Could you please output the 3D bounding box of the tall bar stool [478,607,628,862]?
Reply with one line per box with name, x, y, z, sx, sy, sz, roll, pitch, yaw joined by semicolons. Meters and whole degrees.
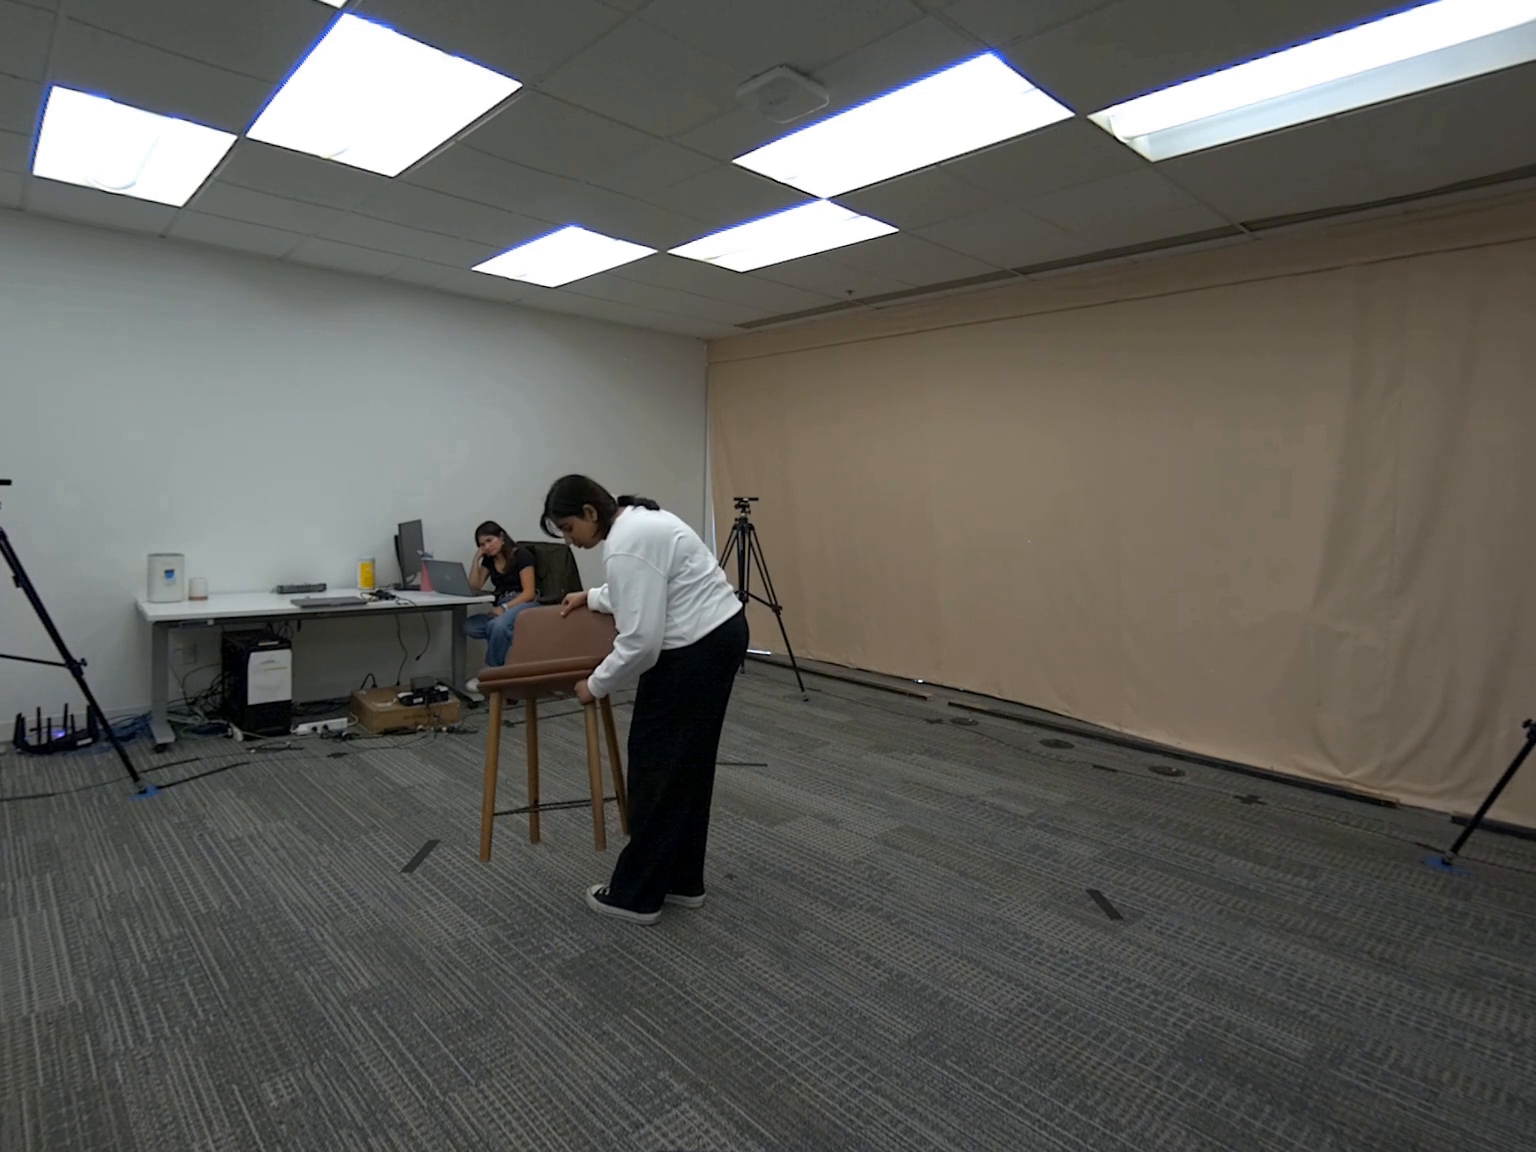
tall bar stool;-0.743;0.501;2.944;0.458;0.900;0.460;-7;-15;4
